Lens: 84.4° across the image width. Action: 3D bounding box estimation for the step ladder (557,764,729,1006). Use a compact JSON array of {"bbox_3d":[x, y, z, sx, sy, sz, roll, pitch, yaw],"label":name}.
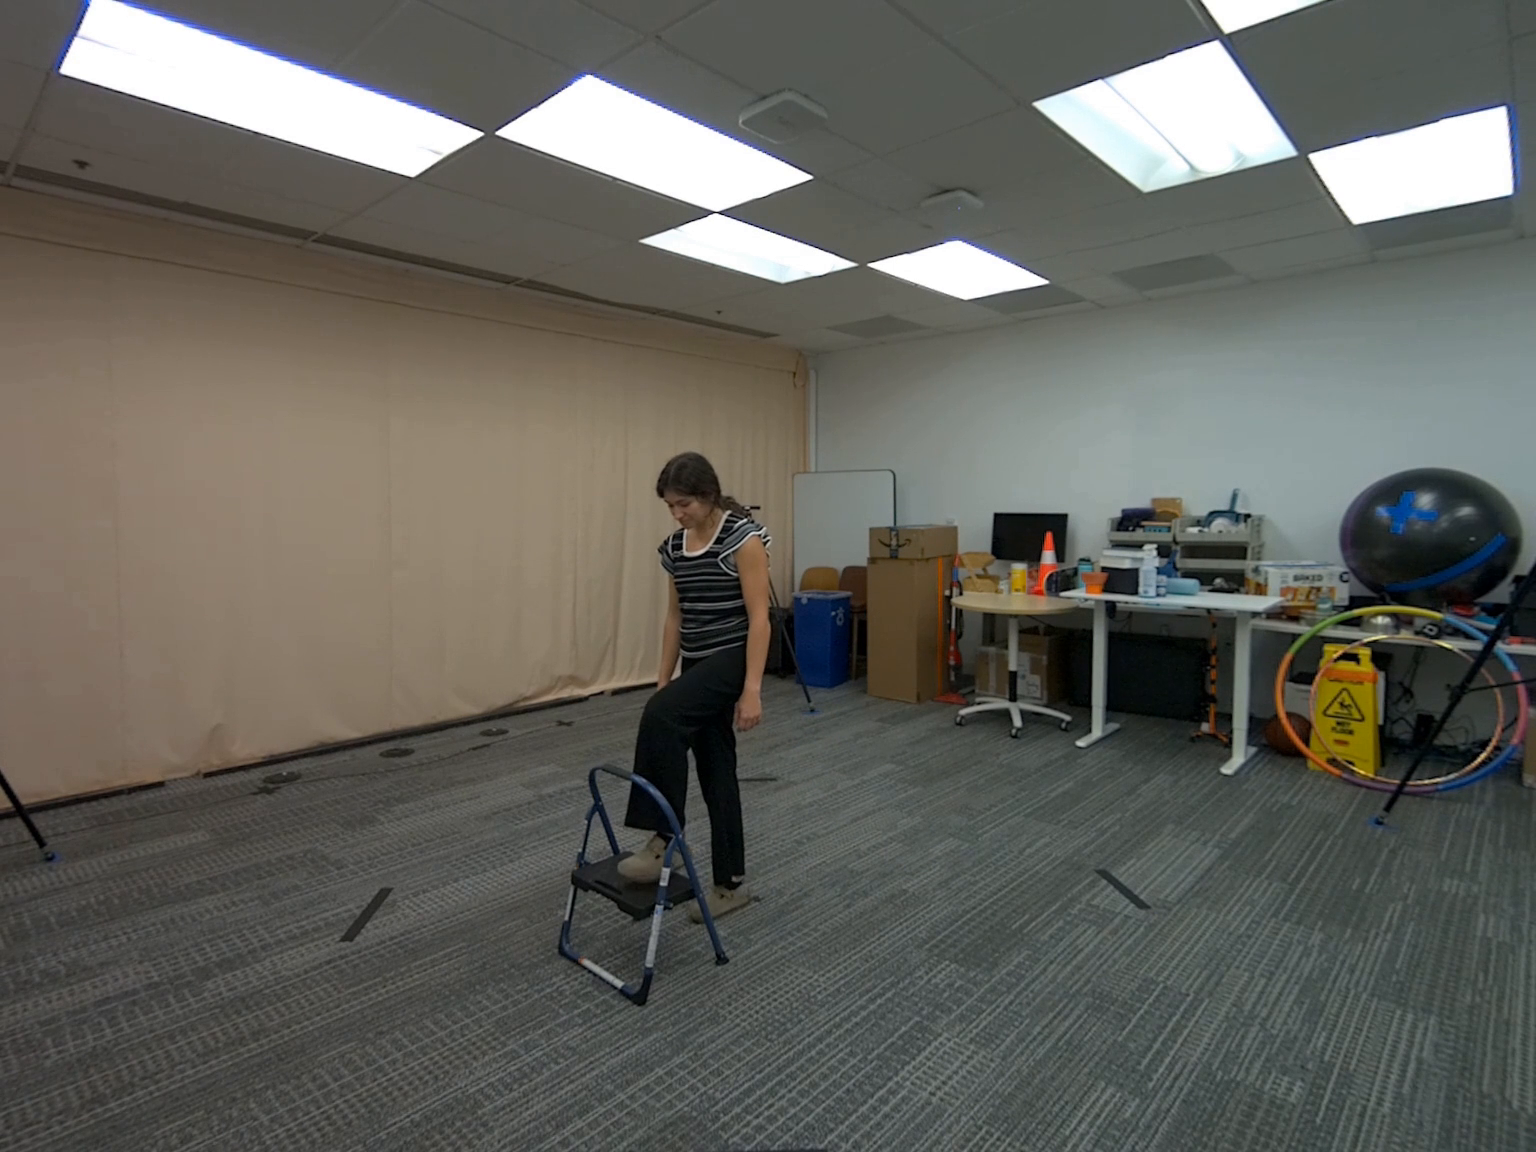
[{"bbox_3d":[-0.394,0.877,2.586,0.445,0.605,0.338,3,5,43],"label":"step ladder"}]
